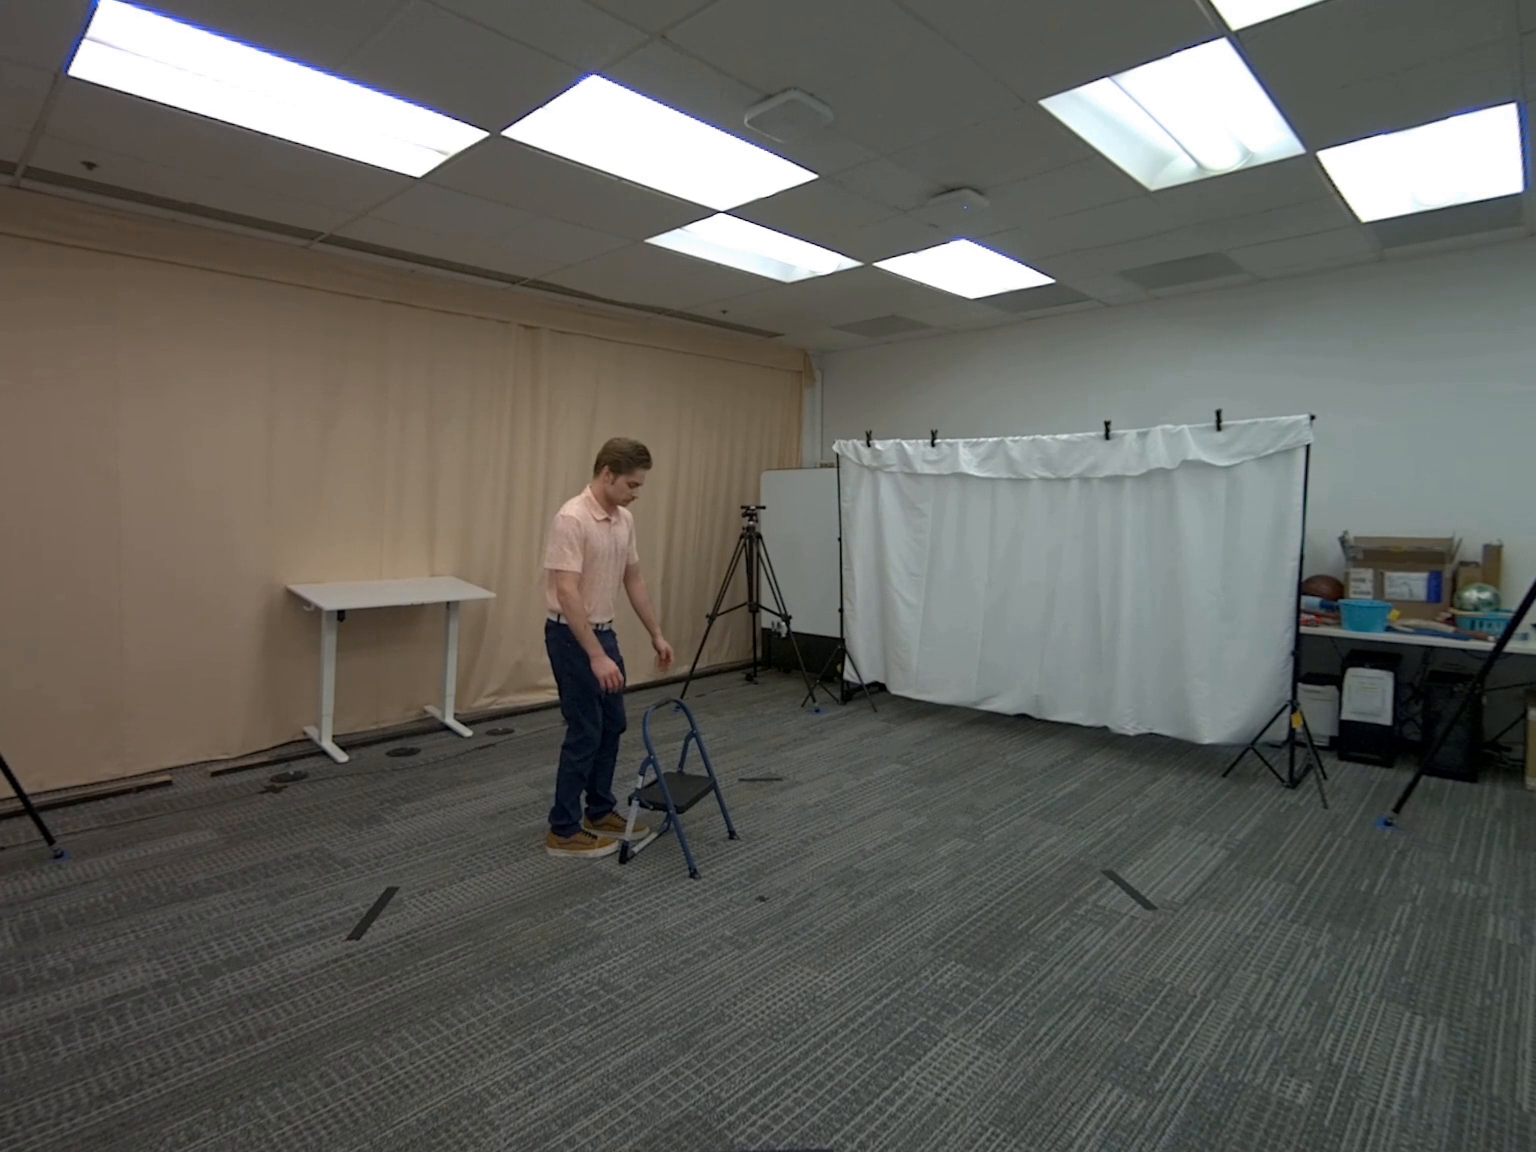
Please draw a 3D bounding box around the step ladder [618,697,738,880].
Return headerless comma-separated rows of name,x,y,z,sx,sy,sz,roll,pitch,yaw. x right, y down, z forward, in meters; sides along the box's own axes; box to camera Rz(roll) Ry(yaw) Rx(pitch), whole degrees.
step ladder,-0.357,0.814,3.388,0.357,0.605,0.422,1,3,21
